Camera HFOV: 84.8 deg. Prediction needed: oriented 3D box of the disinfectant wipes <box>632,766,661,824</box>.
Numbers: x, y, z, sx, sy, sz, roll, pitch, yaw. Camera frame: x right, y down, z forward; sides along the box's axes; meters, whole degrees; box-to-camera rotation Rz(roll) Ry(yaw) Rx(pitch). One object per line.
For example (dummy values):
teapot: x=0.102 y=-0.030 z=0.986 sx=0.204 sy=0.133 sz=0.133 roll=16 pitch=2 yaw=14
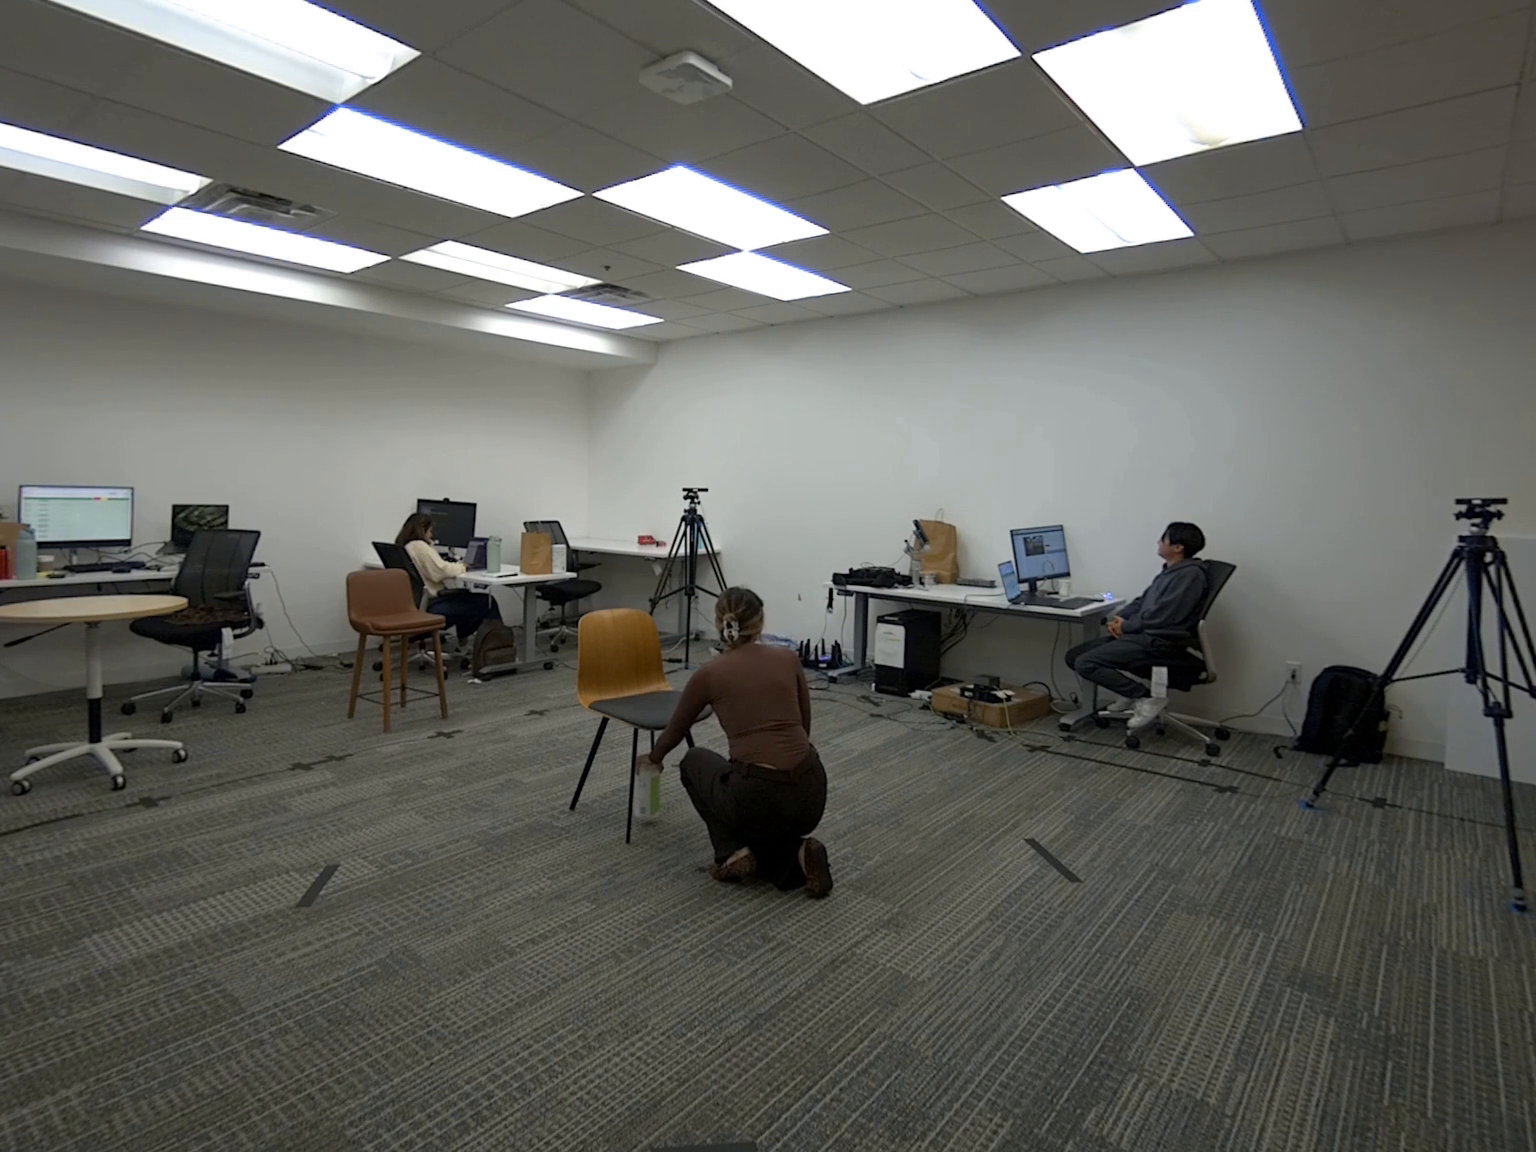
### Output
disinfectant wipes: x=-0.504 y=0.886 z=3.518 sx=0.117 sy=0.215 sz=0.119 roll=2 pitch=10 yaw=-2
